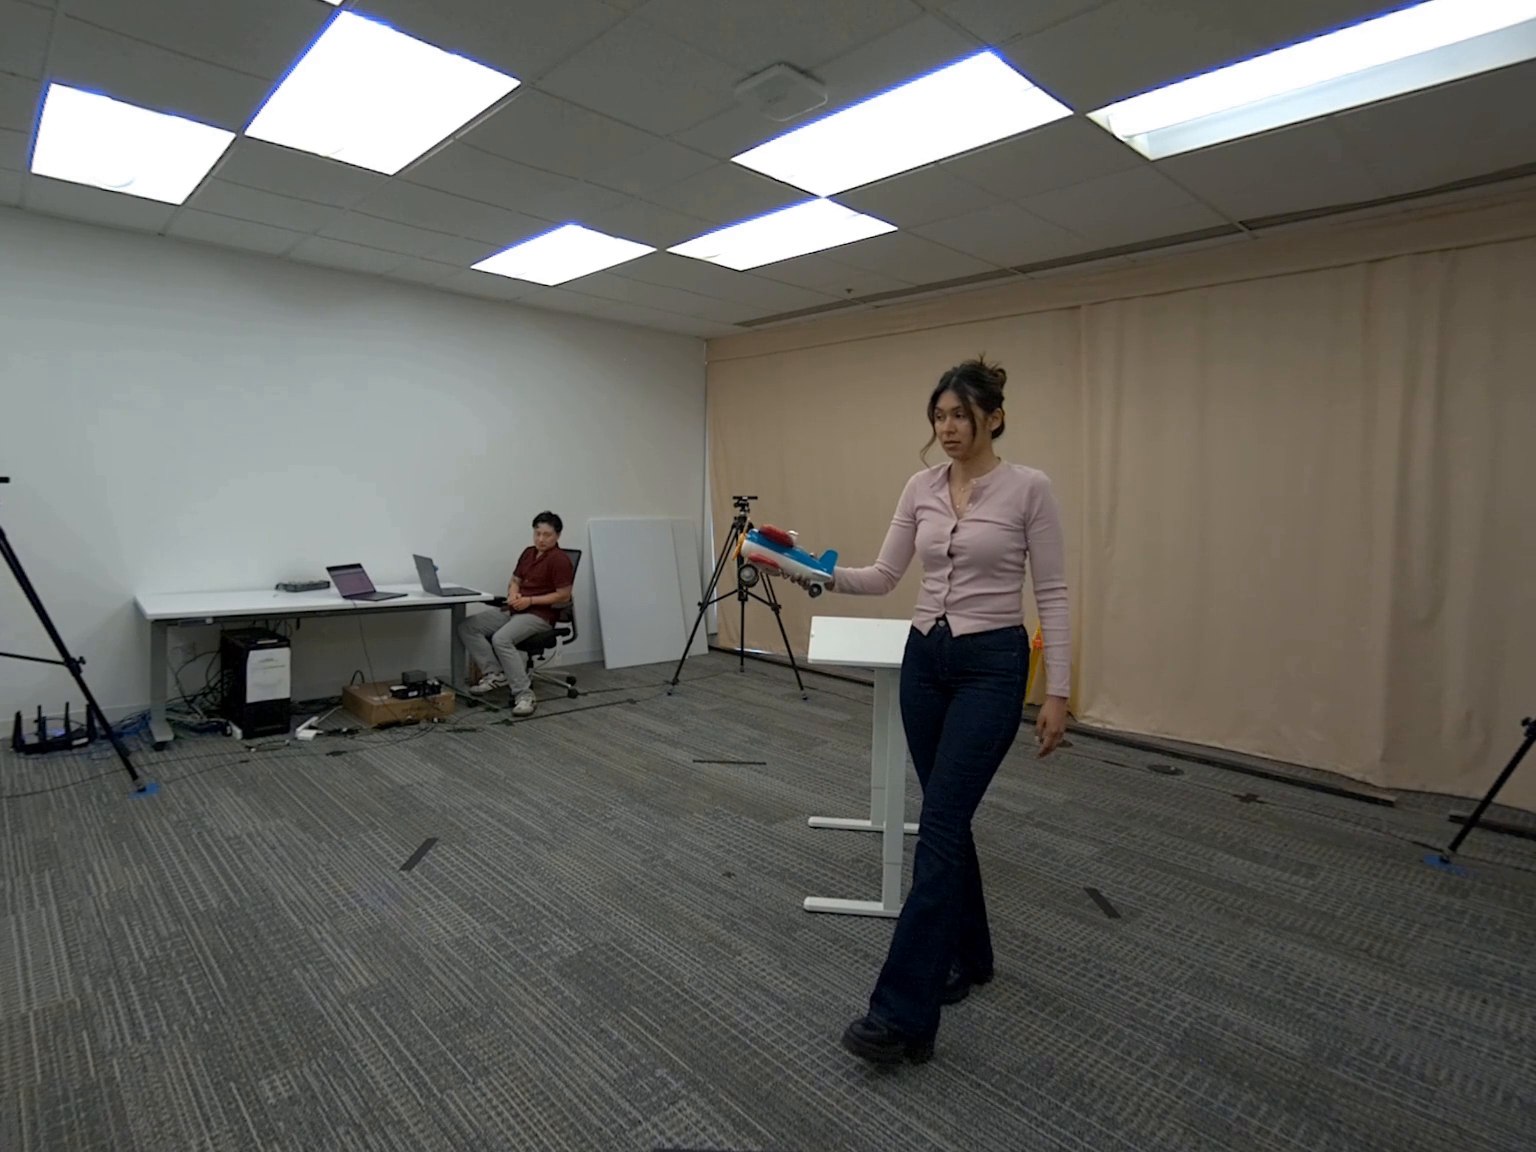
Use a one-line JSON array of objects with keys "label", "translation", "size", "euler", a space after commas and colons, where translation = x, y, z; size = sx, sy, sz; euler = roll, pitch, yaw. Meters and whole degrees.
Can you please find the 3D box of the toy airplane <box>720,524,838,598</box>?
[{"label": "toy airplane", "translation": [0.040, -0.035, 2.200], "size": [0.254, 0.157, 0.255], "euler": [11, -6, -24]}]
